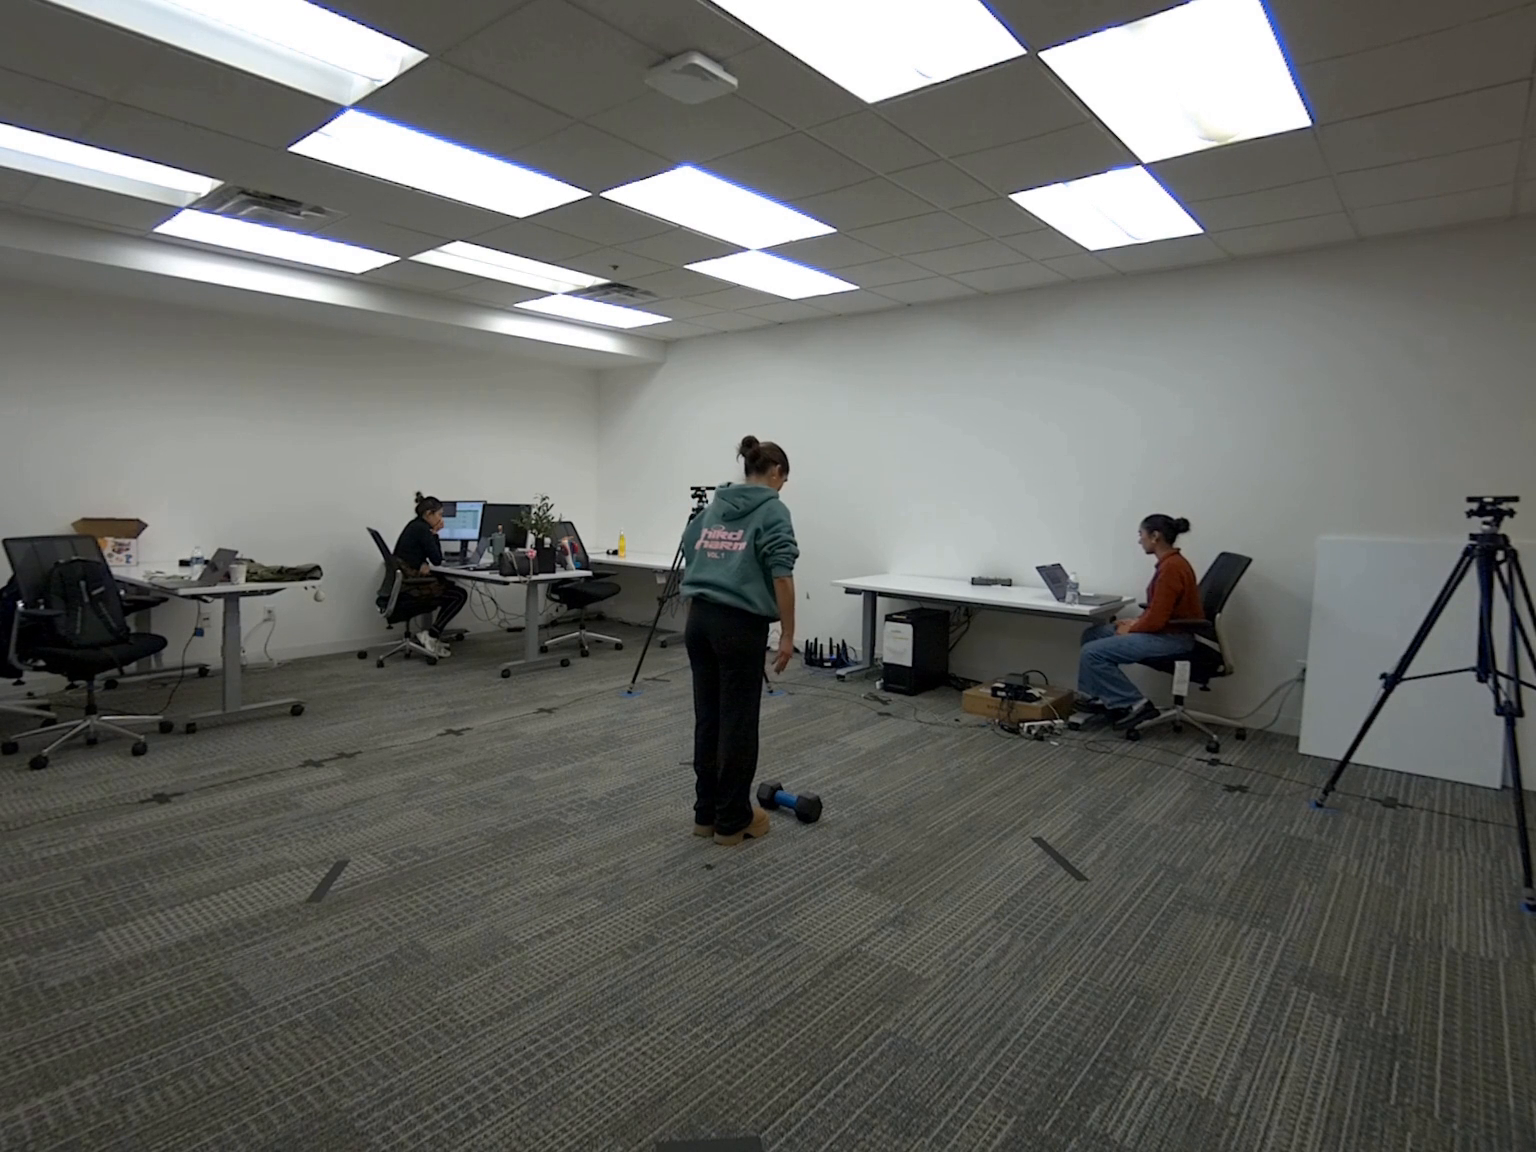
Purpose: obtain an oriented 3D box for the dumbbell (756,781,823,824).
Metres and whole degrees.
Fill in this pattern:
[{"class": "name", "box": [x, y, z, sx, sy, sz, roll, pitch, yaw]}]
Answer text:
[{"class": "dumbbell", "box": [0.082, 0.961, 3.653, 0.303, 0.124, 0.104, 5, -26, 44]}]
